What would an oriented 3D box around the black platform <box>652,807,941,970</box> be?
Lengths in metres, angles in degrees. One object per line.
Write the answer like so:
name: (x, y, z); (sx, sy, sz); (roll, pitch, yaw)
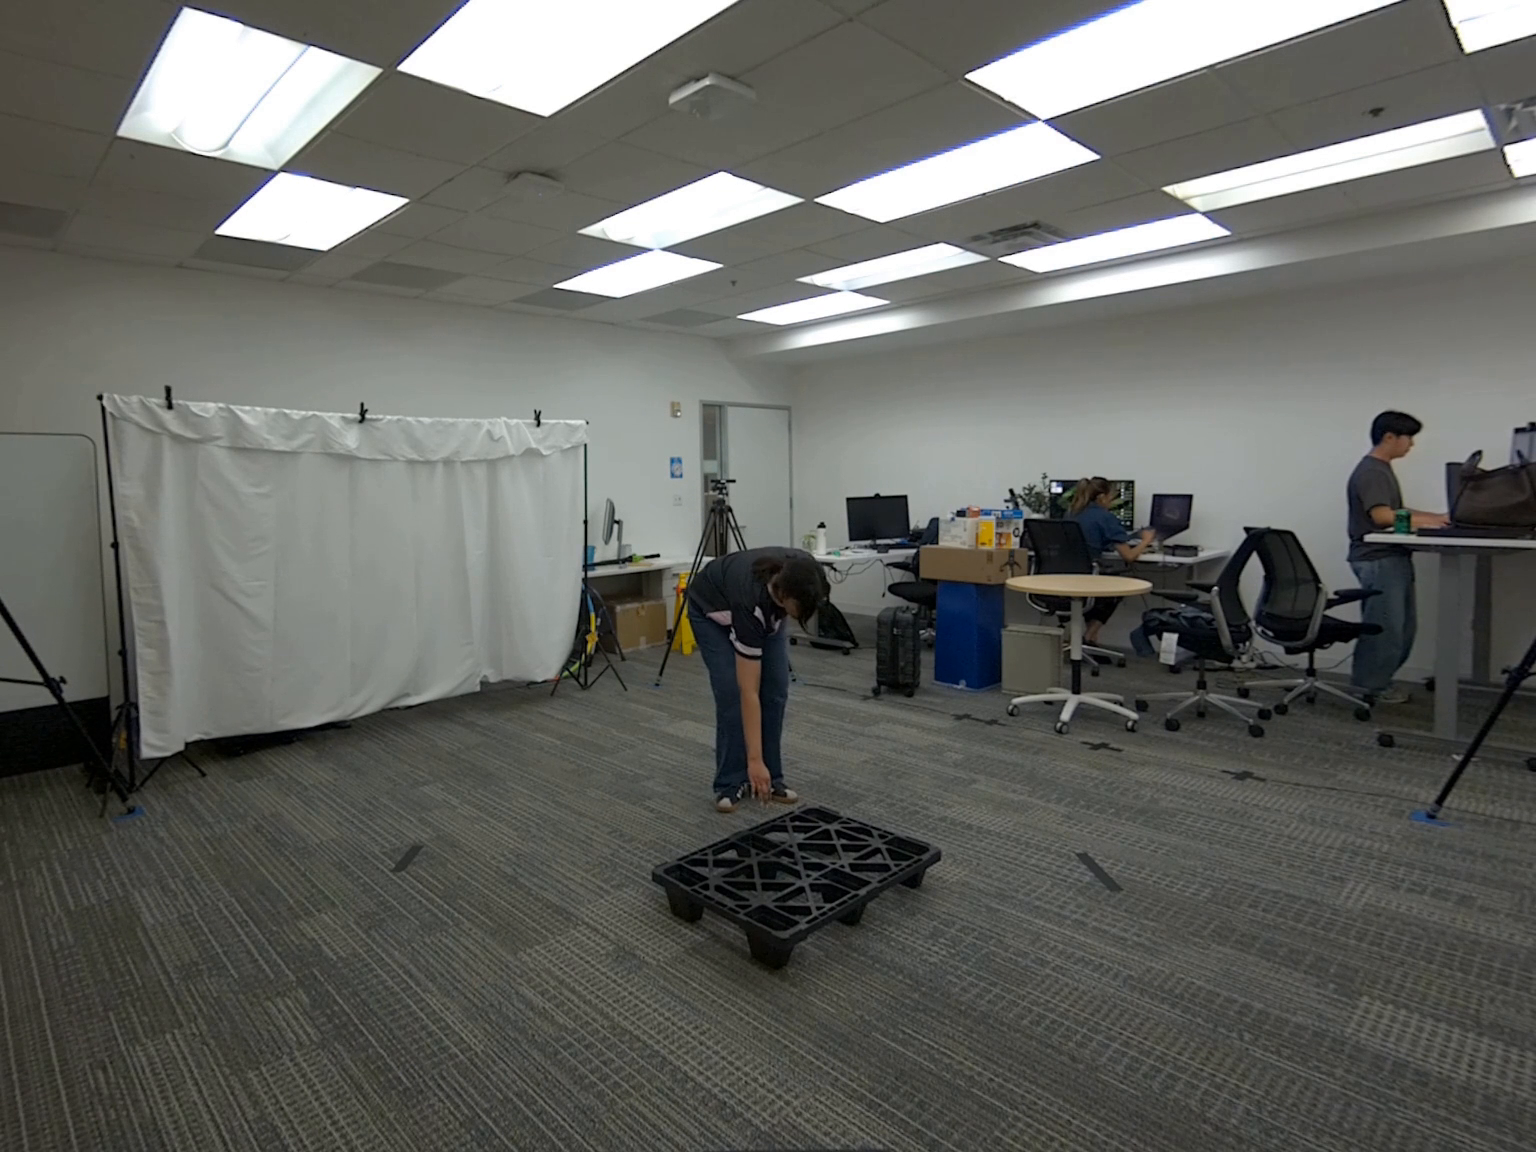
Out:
black platform: (0.111, 1.009, 2.844); (0.785, 0.142, 0.624); (-8, 10, -44)
